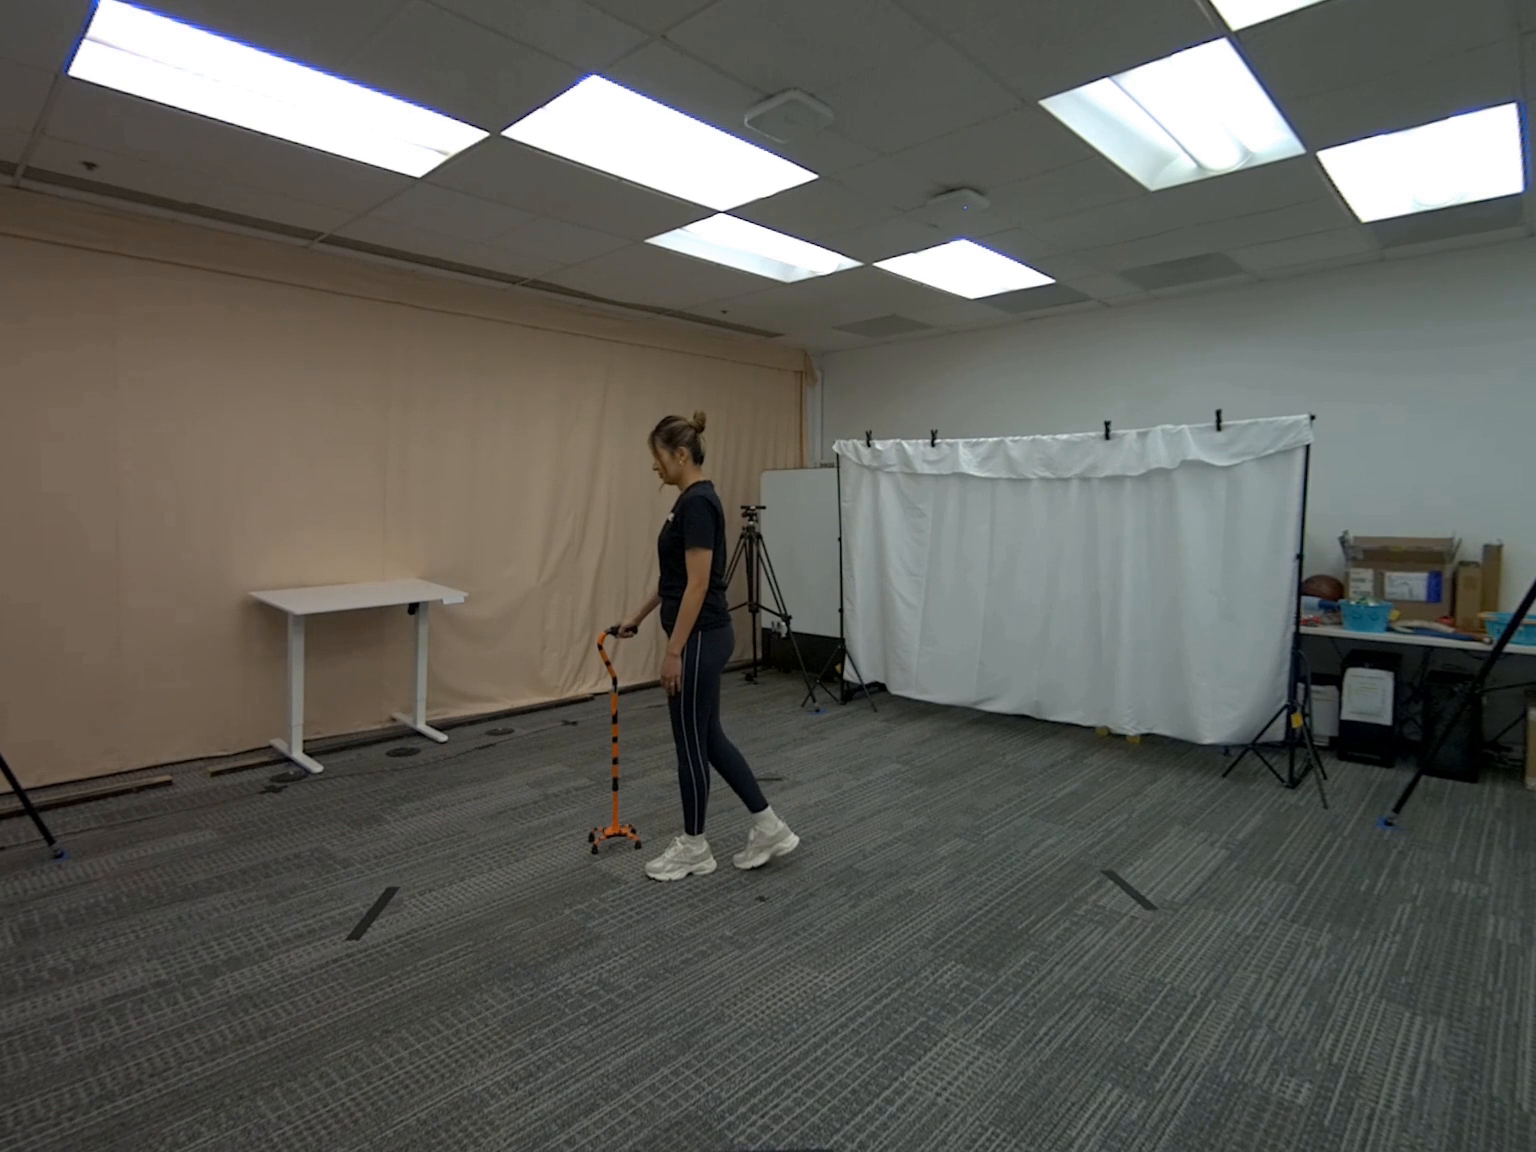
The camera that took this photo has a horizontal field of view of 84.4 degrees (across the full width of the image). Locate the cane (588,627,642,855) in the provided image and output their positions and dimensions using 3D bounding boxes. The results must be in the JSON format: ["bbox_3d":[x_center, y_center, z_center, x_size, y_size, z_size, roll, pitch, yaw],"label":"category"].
[{"bbox_3d":[-0.625,0.662,3.438,0.203,0.906,0.155,0,4,-18],"label":"cane"}]
